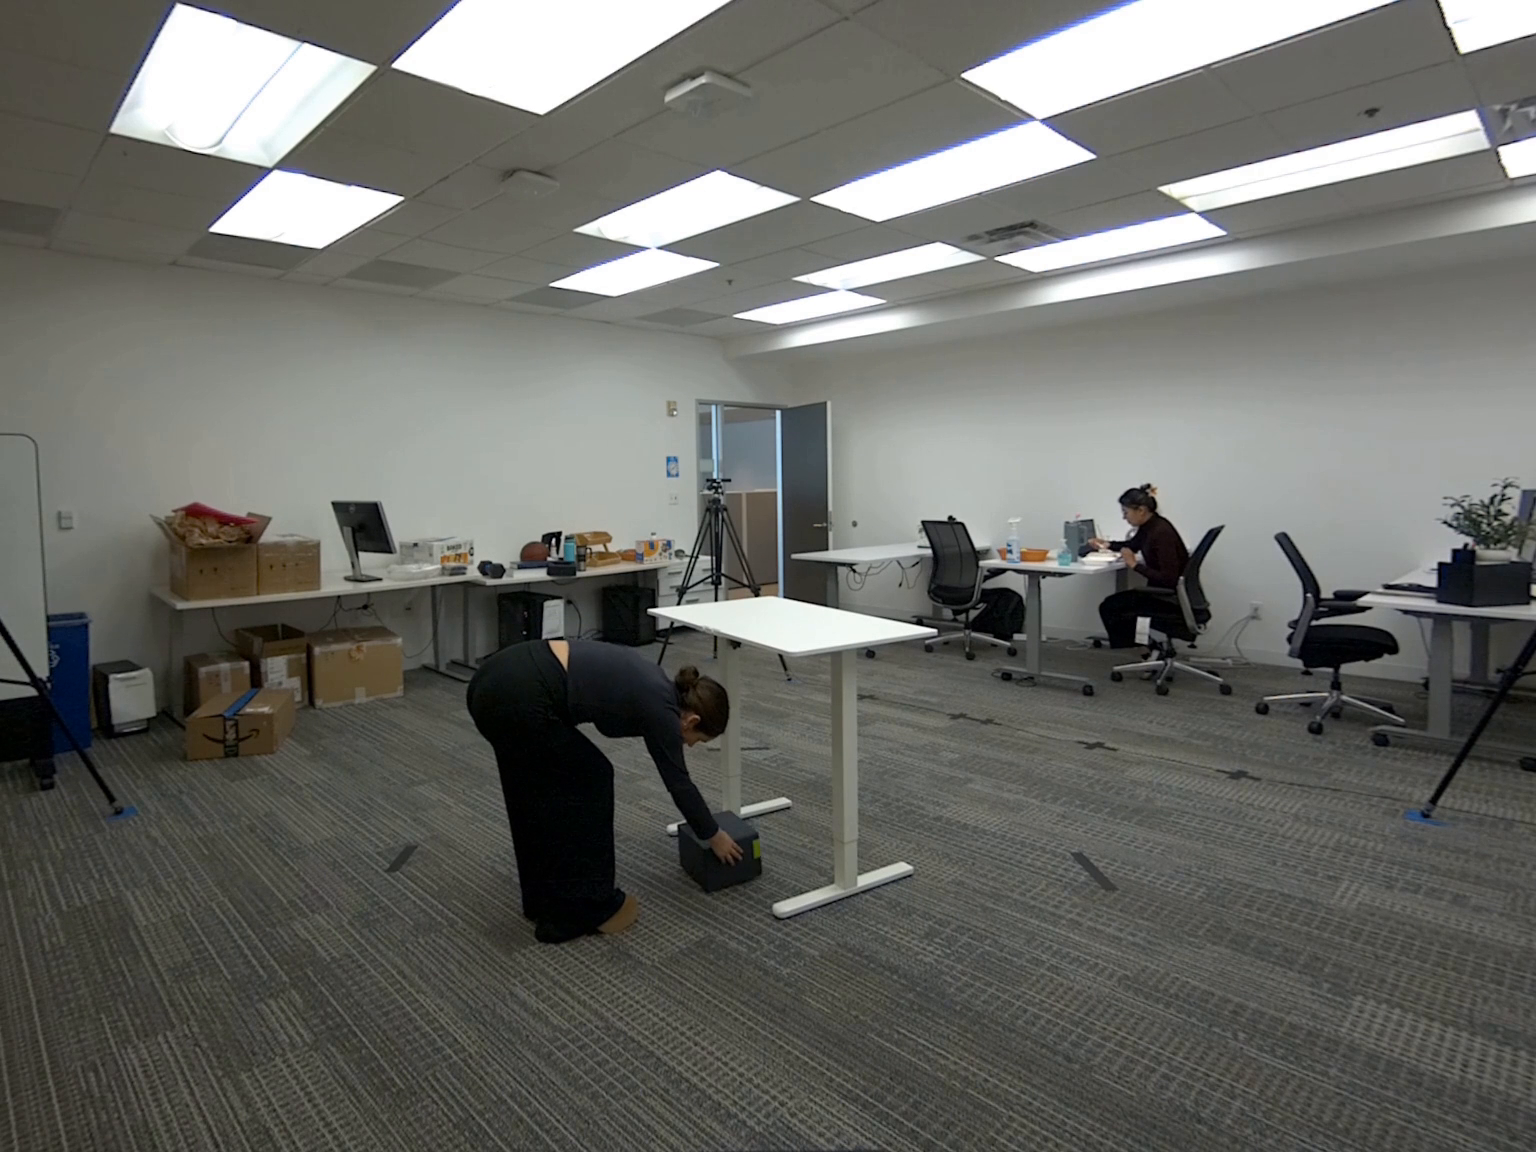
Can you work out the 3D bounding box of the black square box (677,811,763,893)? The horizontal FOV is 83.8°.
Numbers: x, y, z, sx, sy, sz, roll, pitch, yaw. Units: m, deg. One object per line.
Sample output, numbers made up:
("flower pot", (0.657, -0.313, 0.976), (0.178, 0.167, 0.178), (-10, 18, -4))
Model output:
("black square box", (-0.171, 0.966, 3.010), (0.212, 0.155, 0.234), (-7, 9, -29))
